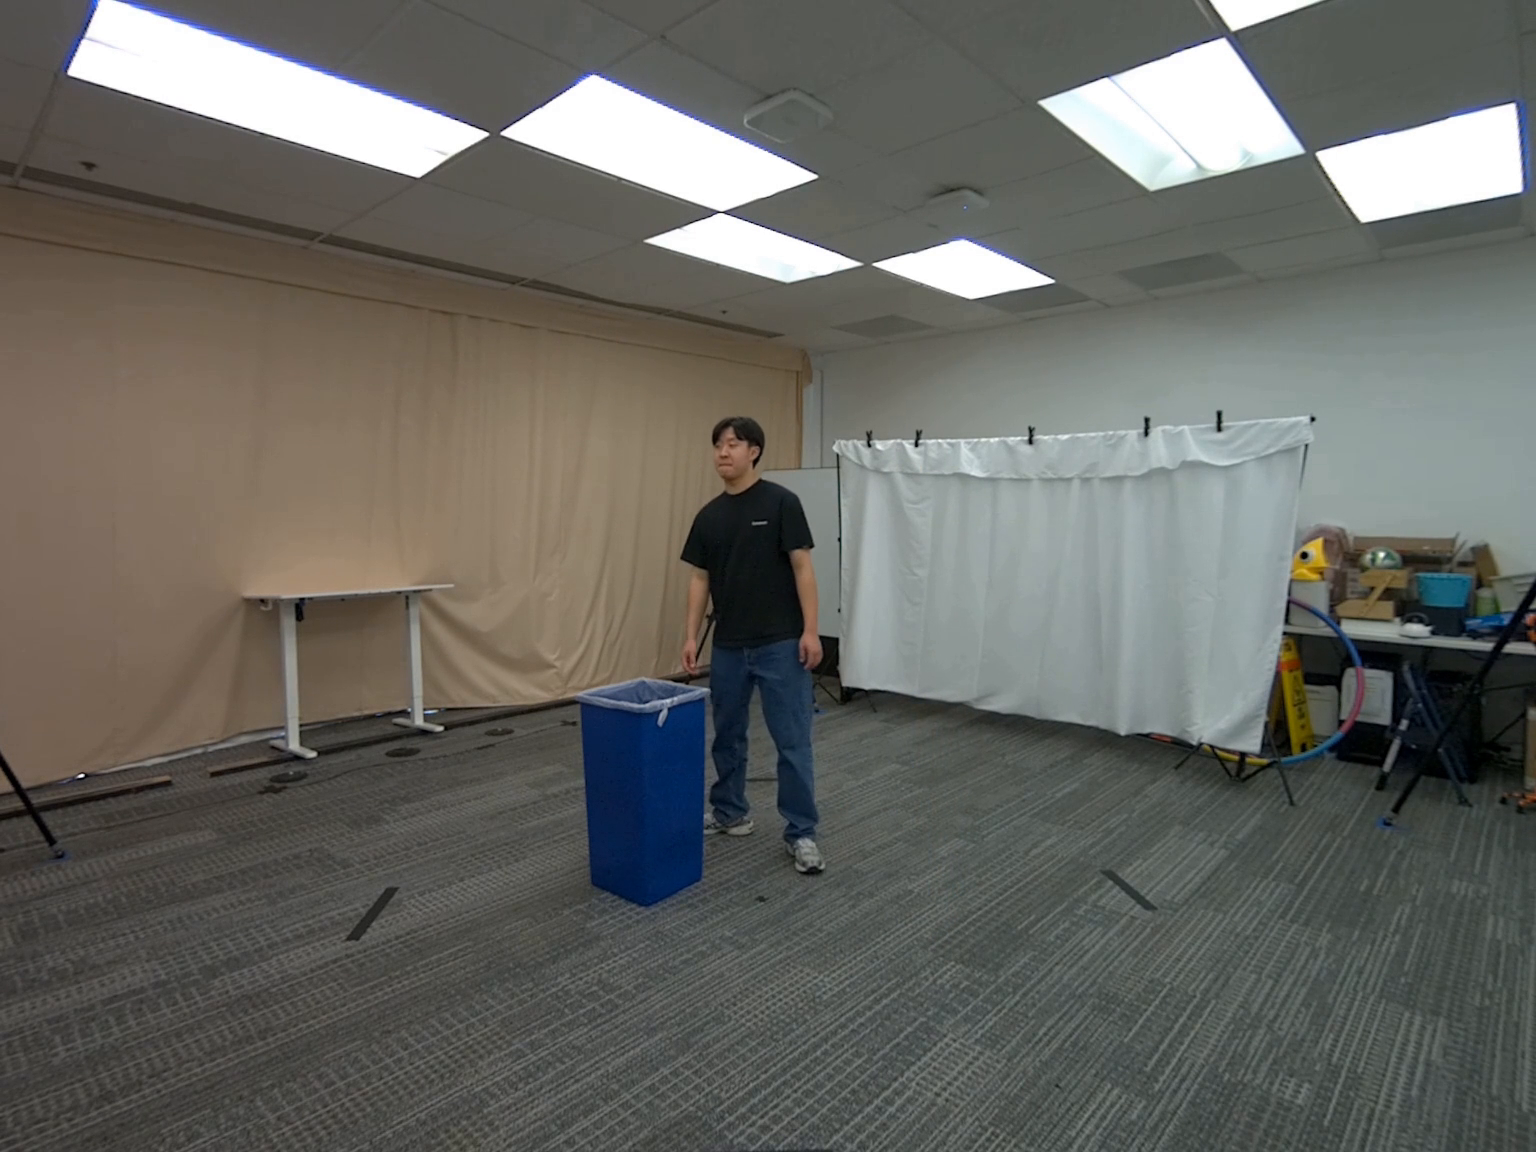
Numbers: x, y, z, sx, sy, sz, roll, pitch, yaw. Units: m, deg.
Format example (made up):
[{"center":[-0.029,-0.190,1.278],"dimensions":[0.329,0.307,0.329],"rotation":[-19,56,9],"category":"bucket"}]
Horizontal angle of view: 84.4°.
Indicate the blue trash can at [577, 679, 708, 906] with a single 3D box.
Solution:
[{"center":[-0.465,0.779,3.110],"dimensions":[0.386,0.712,0.366],"rotation":[2,3,38],"category":"blue trash can"}]
